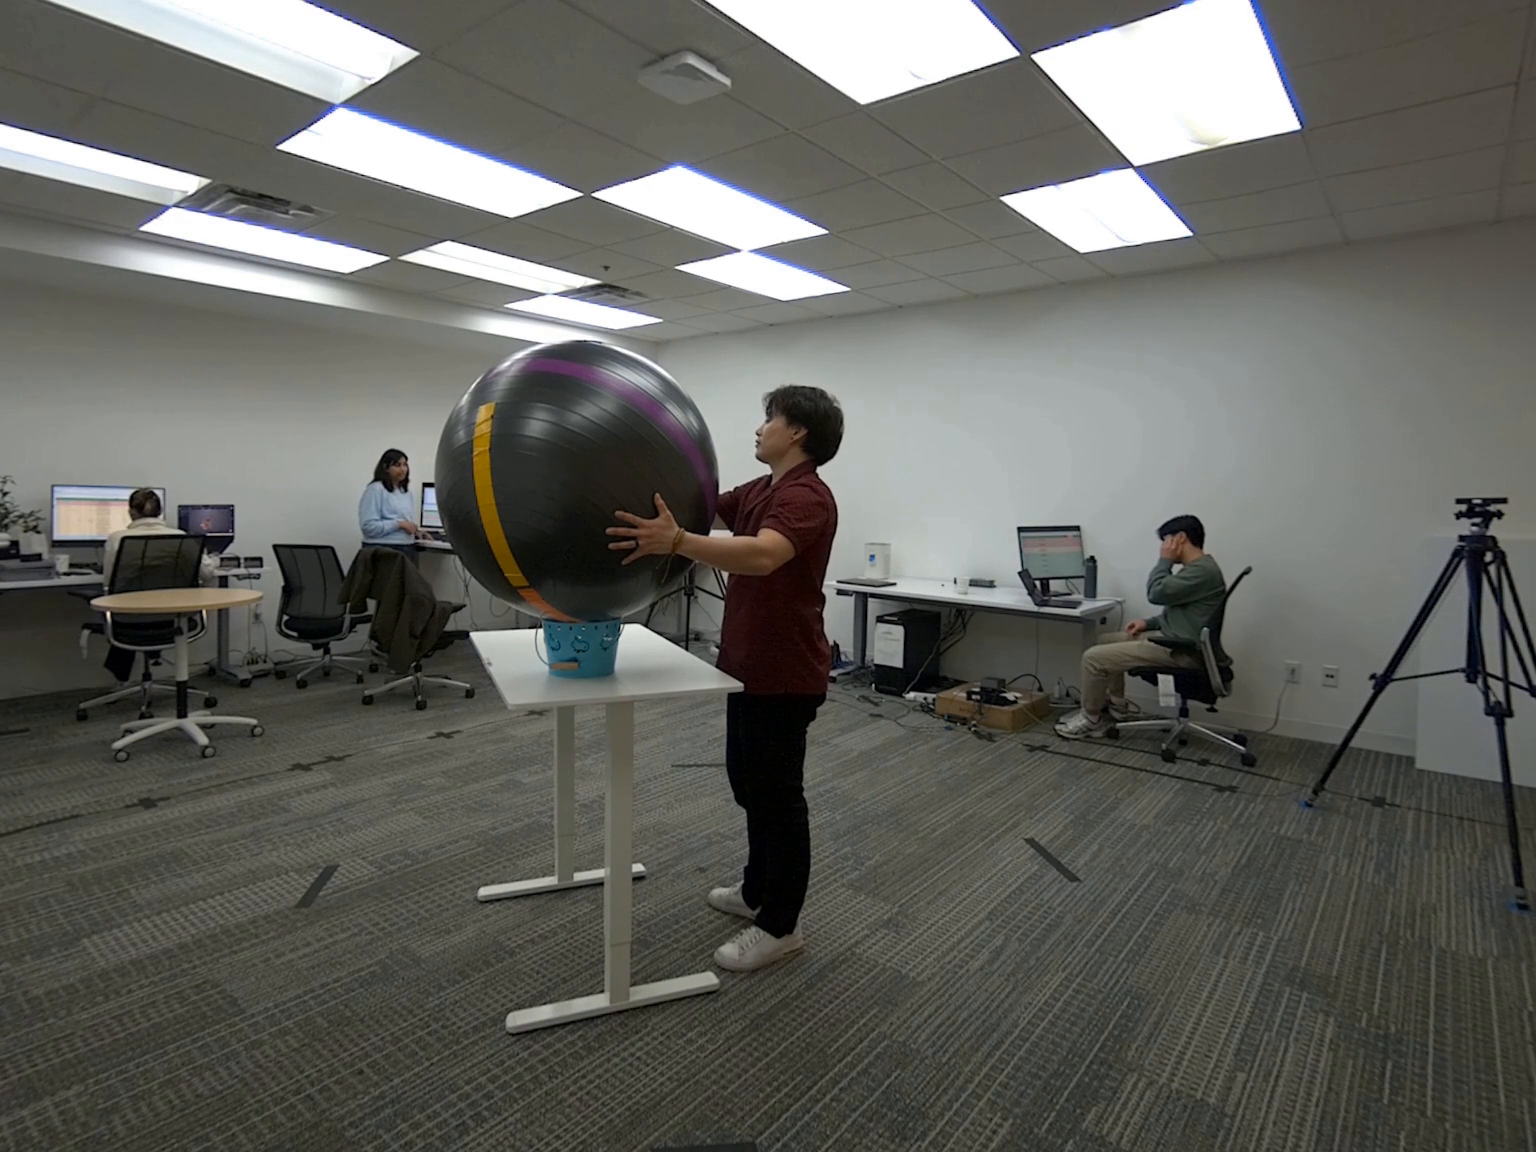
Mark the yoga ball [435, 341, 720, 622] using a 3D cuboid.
[{"bbox_3d":[-0.525,-0.251,2.299,0.757,0.756,0.762,1,4,-2],"label":"yoga ball"}]
